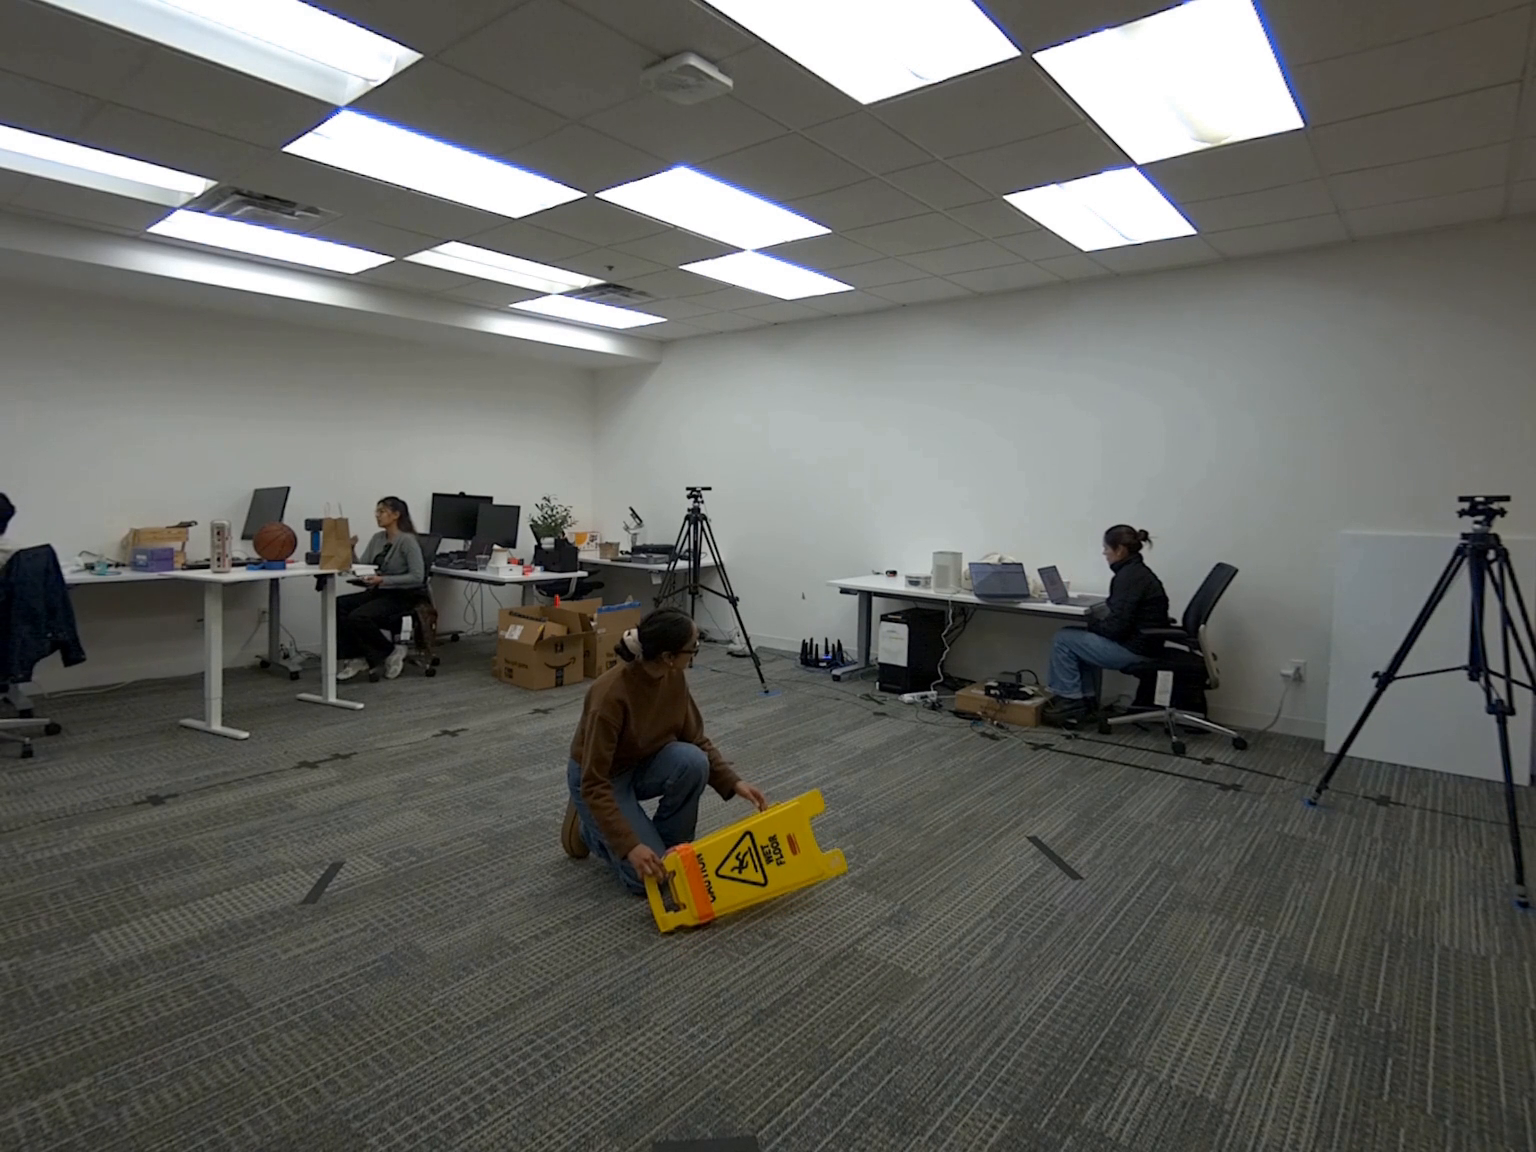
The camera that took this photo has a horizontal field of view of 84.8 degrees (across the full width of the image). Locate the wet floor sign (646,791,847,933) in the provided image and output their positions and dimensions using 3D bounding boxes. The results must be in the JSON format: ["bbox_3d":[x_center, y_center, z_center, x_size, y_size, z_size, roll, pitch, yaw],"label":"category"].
[{"bbox_3d":[-0.109,0.959,2.824,0.631,0.288,0.290,-12,-18,-31],"label":"wet floor sign"}]
